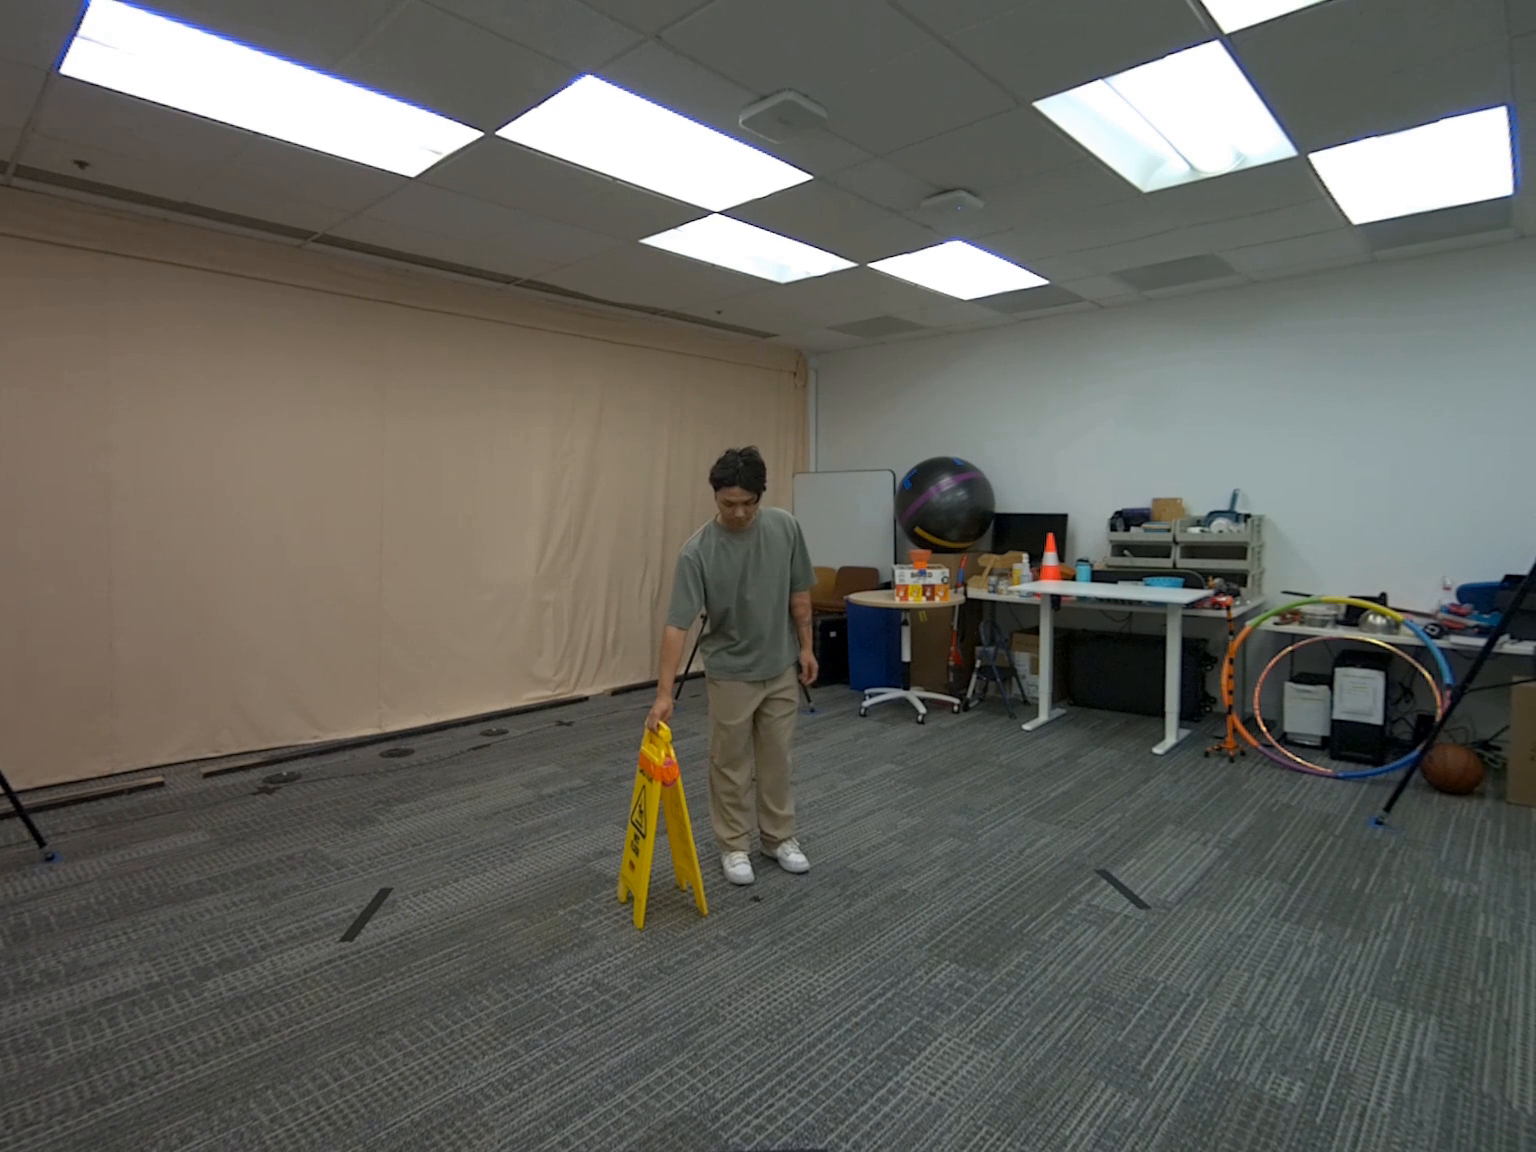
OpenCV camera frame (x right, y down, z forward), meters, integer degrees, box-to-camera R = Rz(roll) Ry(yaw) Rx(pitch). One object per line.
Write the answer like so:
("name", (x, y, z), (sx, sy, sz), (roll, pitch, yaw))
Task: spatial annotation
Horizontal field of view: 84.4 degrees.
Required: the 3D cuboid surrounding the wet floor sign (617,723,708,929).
("wet floor sign", (-0.372, 0.821, 2.920), (0.283, 0.644, 0.289), (-2, 4, -24))
